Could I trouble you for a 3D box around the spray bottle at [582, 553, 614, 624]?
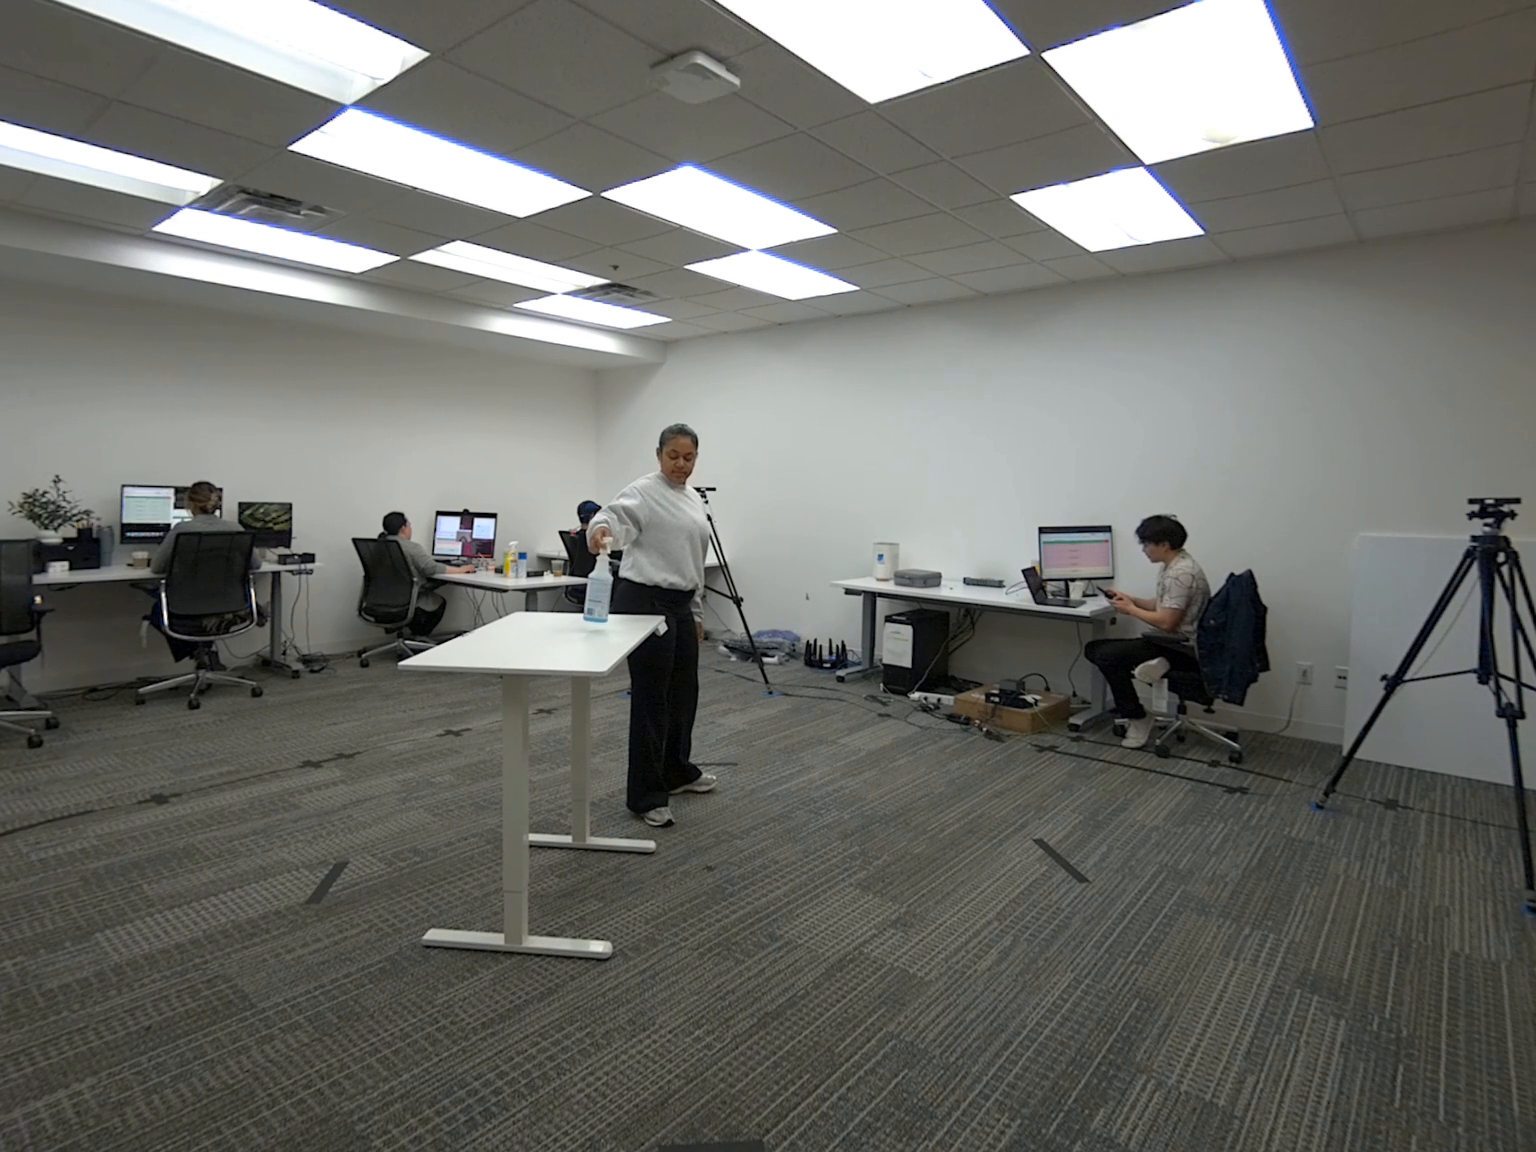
[{"bbox_3d":[-0.594,0.007,2.973,0.086,0.297,0.091,7,0,-9],"label":"spray bottle"}]
